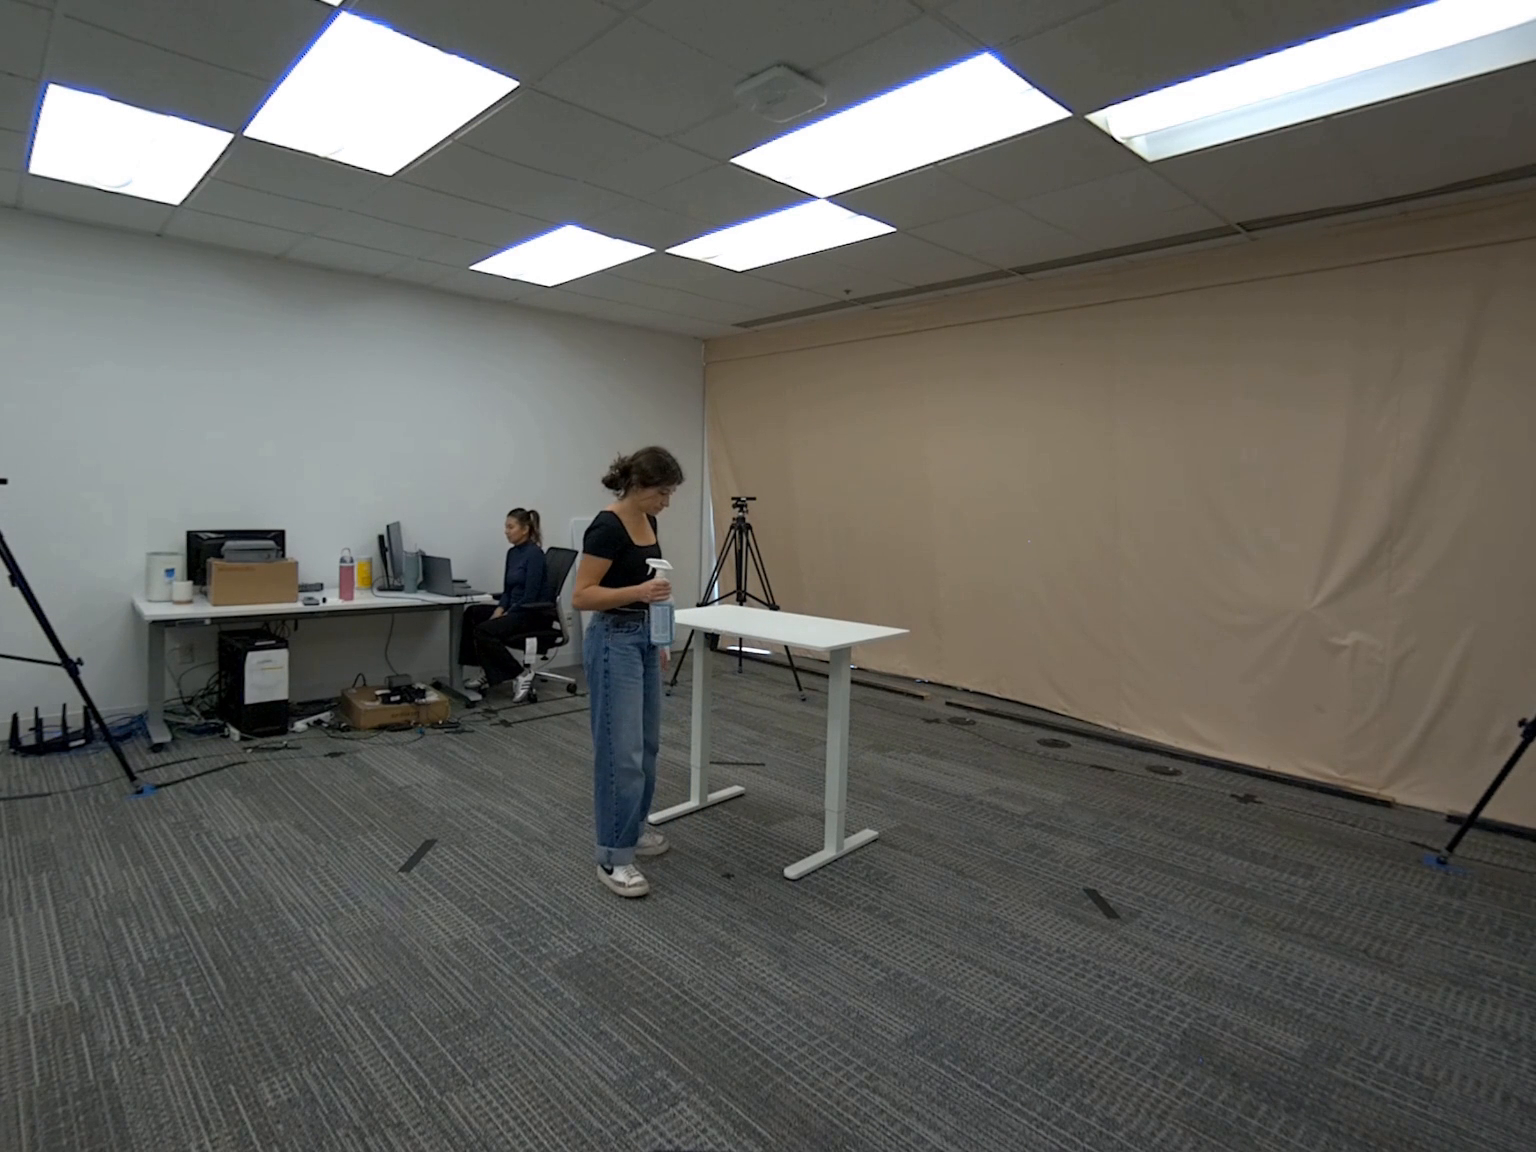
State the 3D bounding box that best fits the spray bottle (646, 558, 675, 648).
[{"bbox_3d":[-0.373,0.088,2.890,0.092,0.295,0.085,7,12,35],"label":"spray bottle"}]
